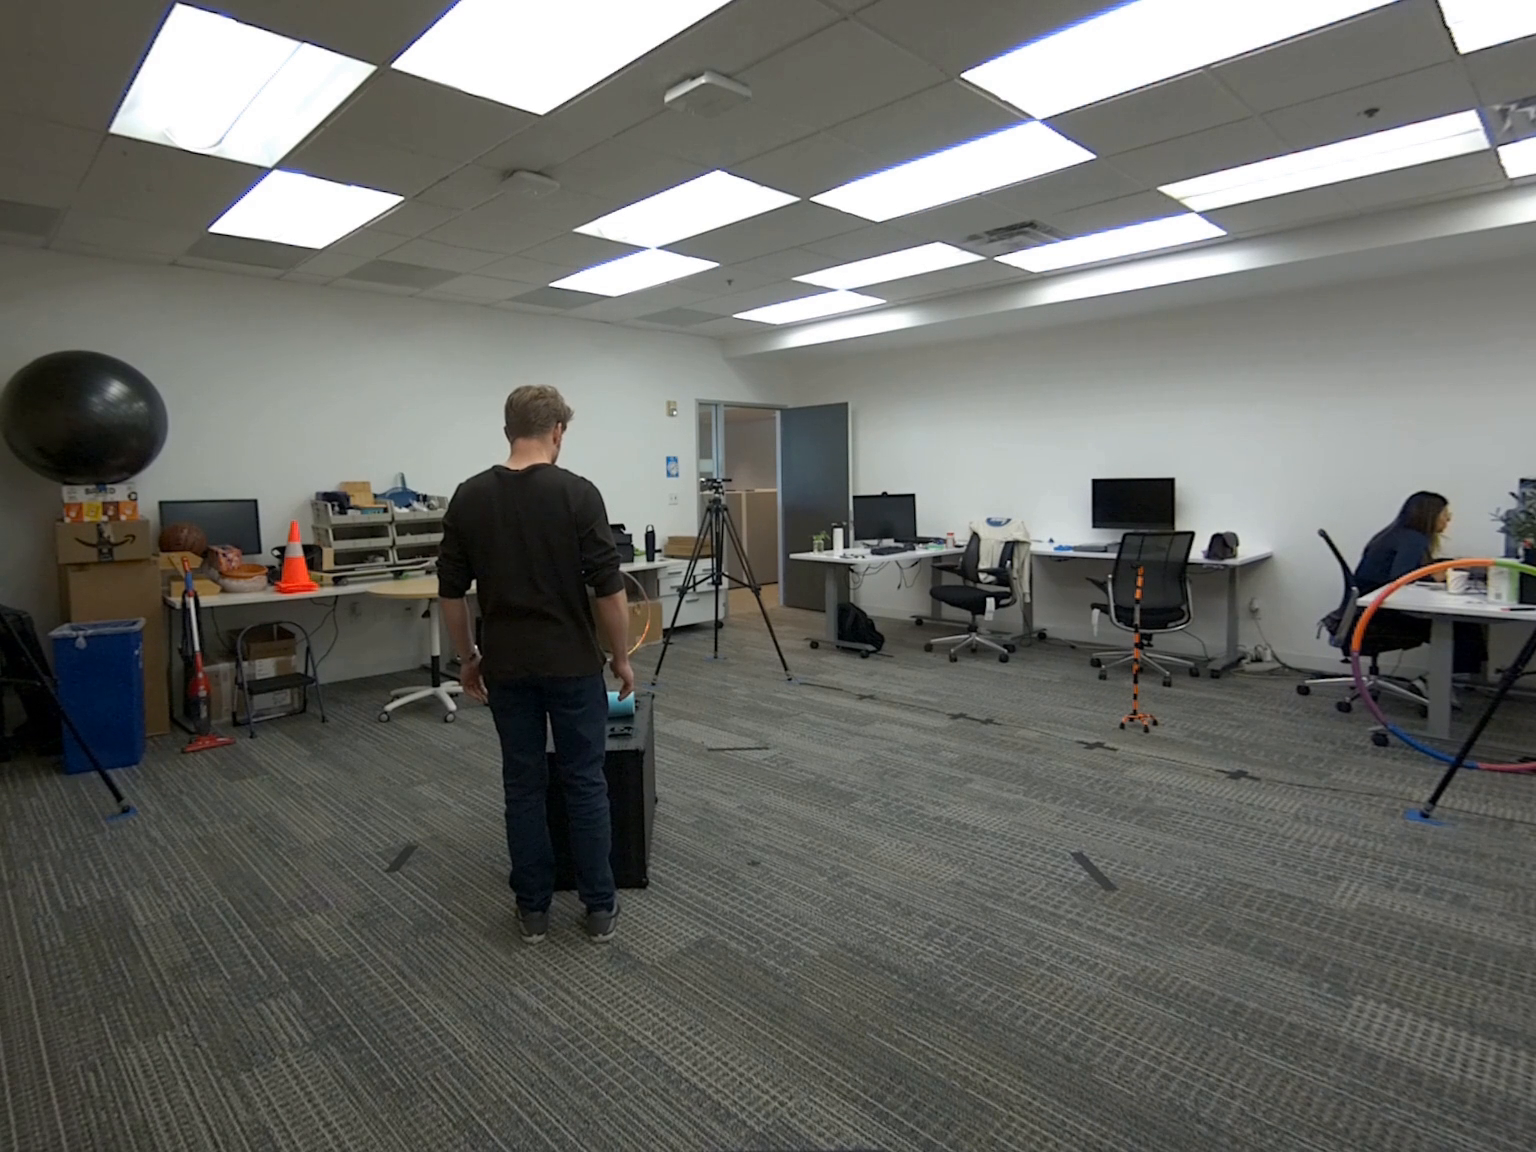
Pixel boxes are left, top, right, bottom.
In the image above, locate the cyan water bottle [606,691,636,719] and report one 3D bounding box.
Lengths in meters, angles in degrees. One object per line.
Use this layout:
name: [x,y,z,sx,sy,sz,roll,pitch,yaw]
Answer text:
cyan water bottle: [-0.665,0.503,3.342,0.283,0.092,0.093,-1,5,-1]
